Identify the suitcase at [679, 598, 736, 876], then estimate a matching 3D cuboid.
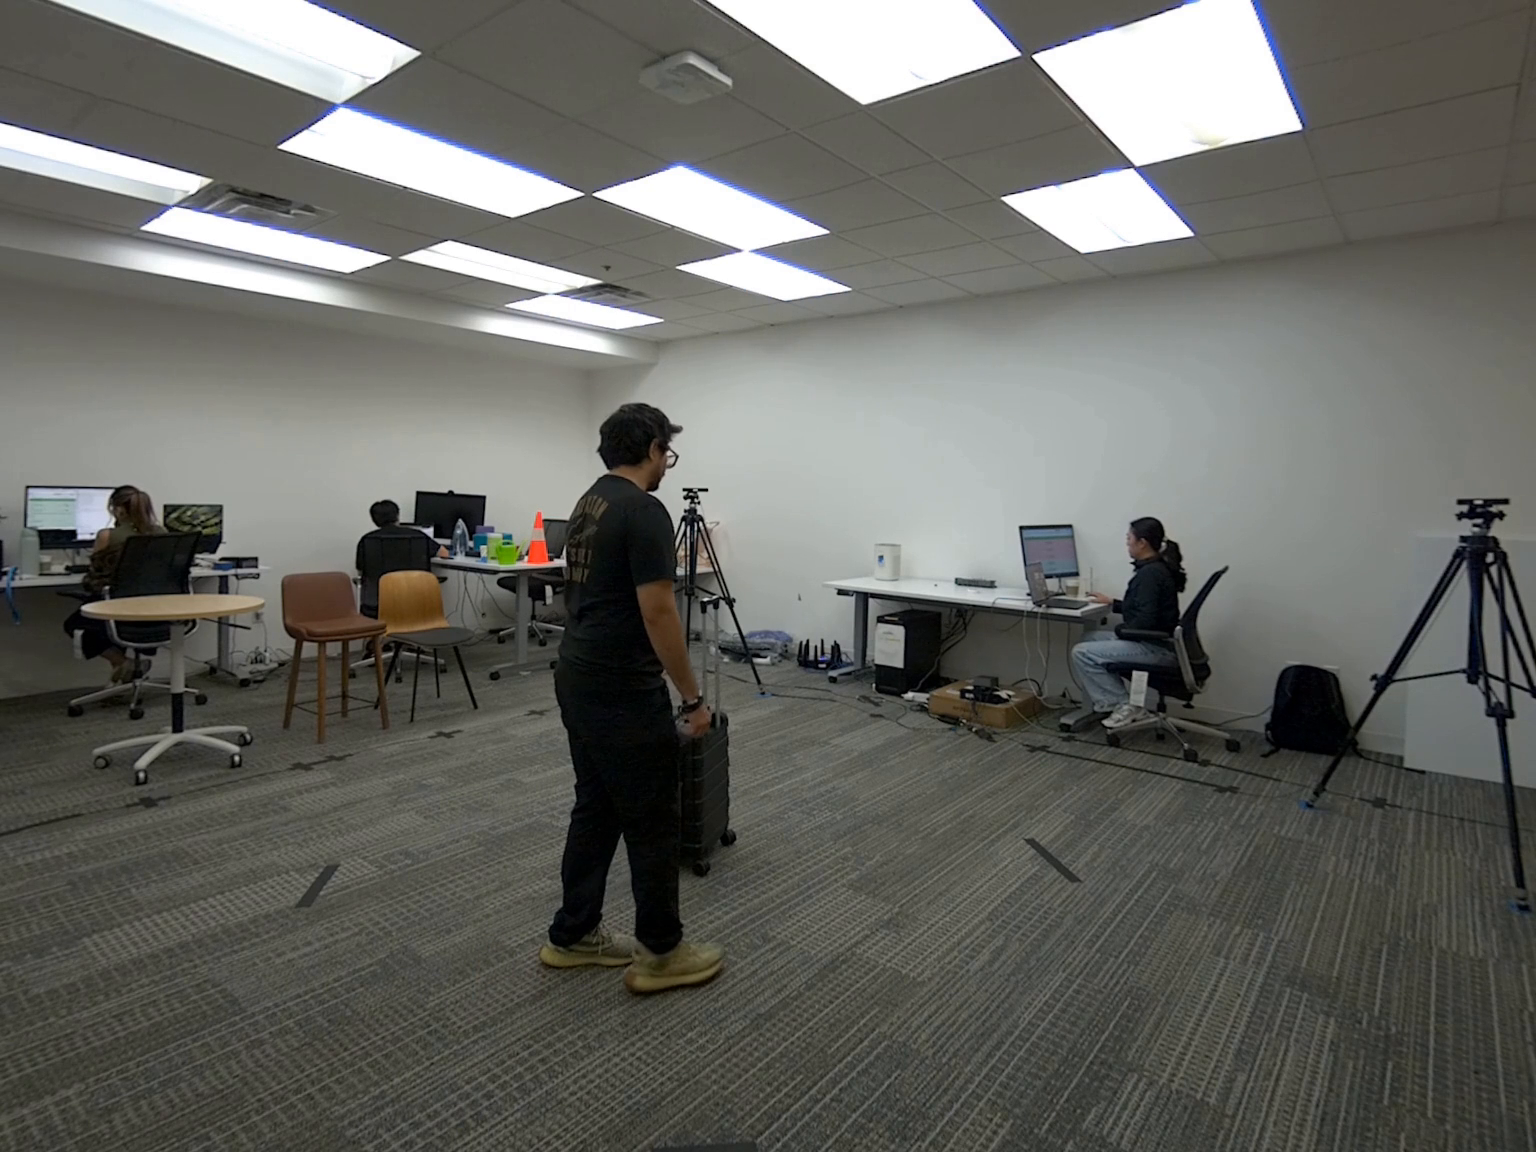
[{"bbox_3d":[-0.327,0.583,3.232,0.262,0.978,0.378,-2,1,17],"label":"suitcase"}]
